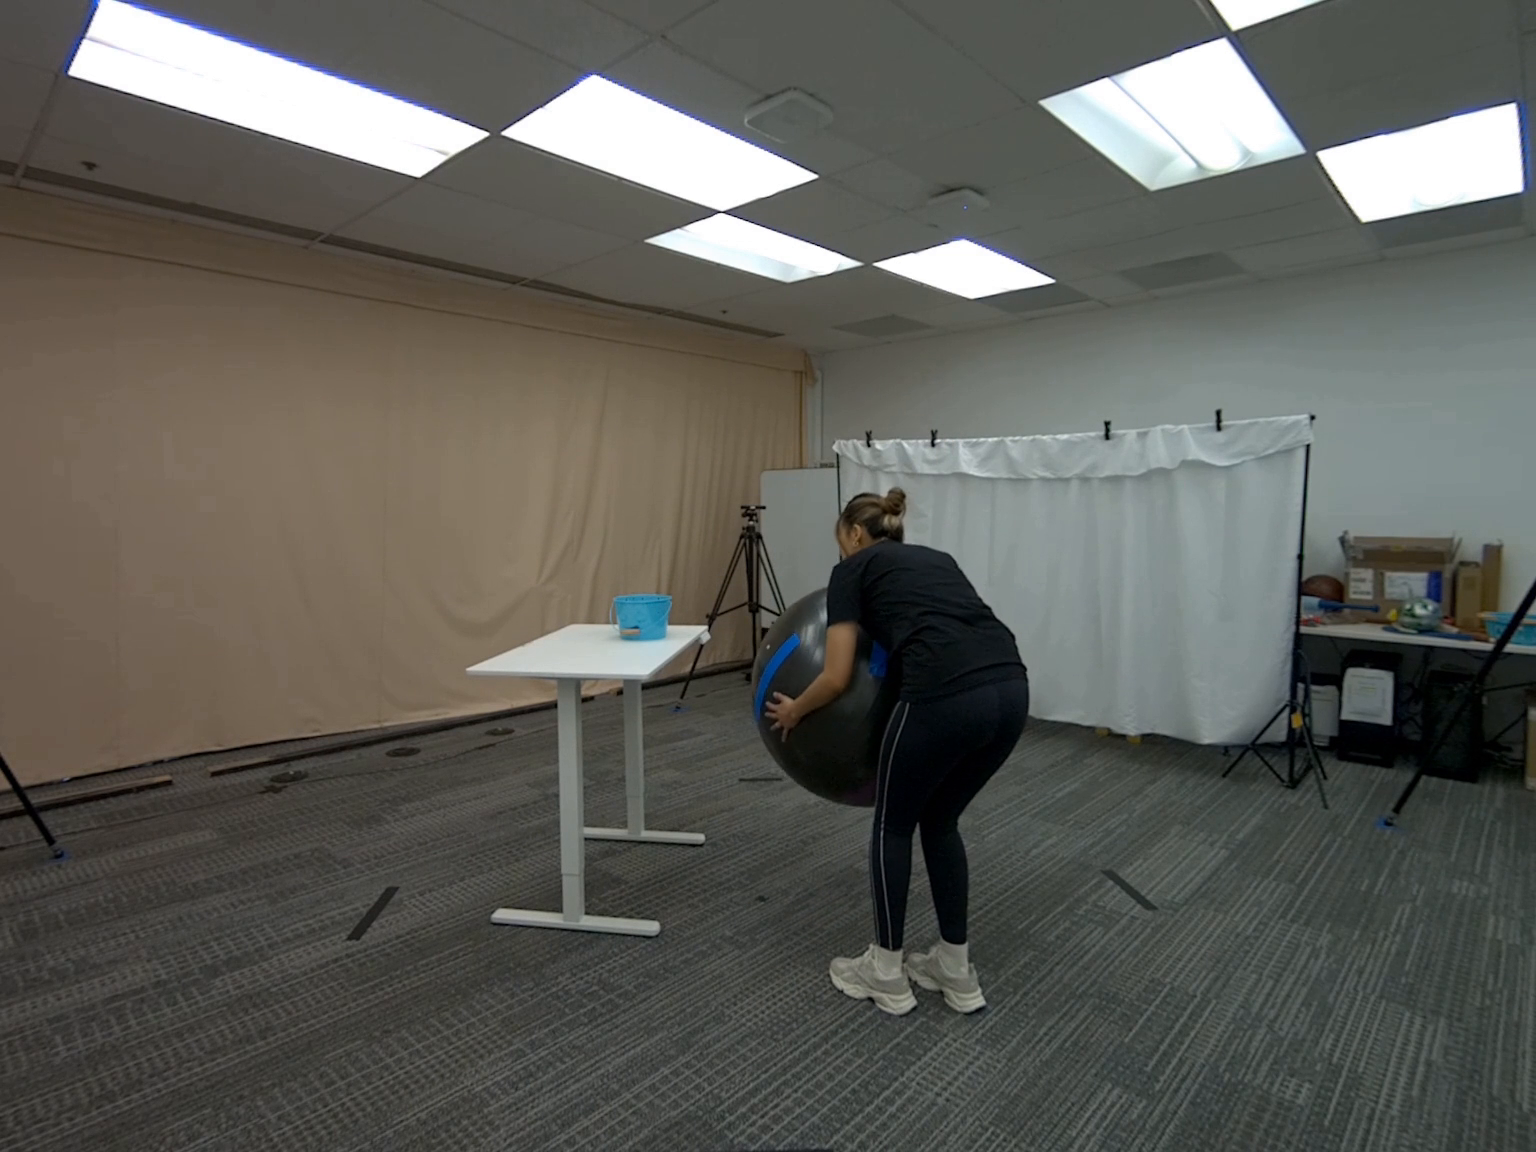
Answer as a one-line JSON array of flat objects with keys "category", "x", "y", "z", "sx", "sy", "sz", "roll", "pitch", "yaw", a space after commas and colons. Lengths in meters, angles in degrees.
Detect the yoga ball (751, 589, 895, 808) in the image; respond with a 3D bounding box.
[{"category": "yoga ball", "x": 0.332, "y": 0.403, "z": 2.892, "sx": 0.757, "sy": 0.756, "sz": 0.761, "roll": 0, "pitch": 4, "yaw": -2}]
